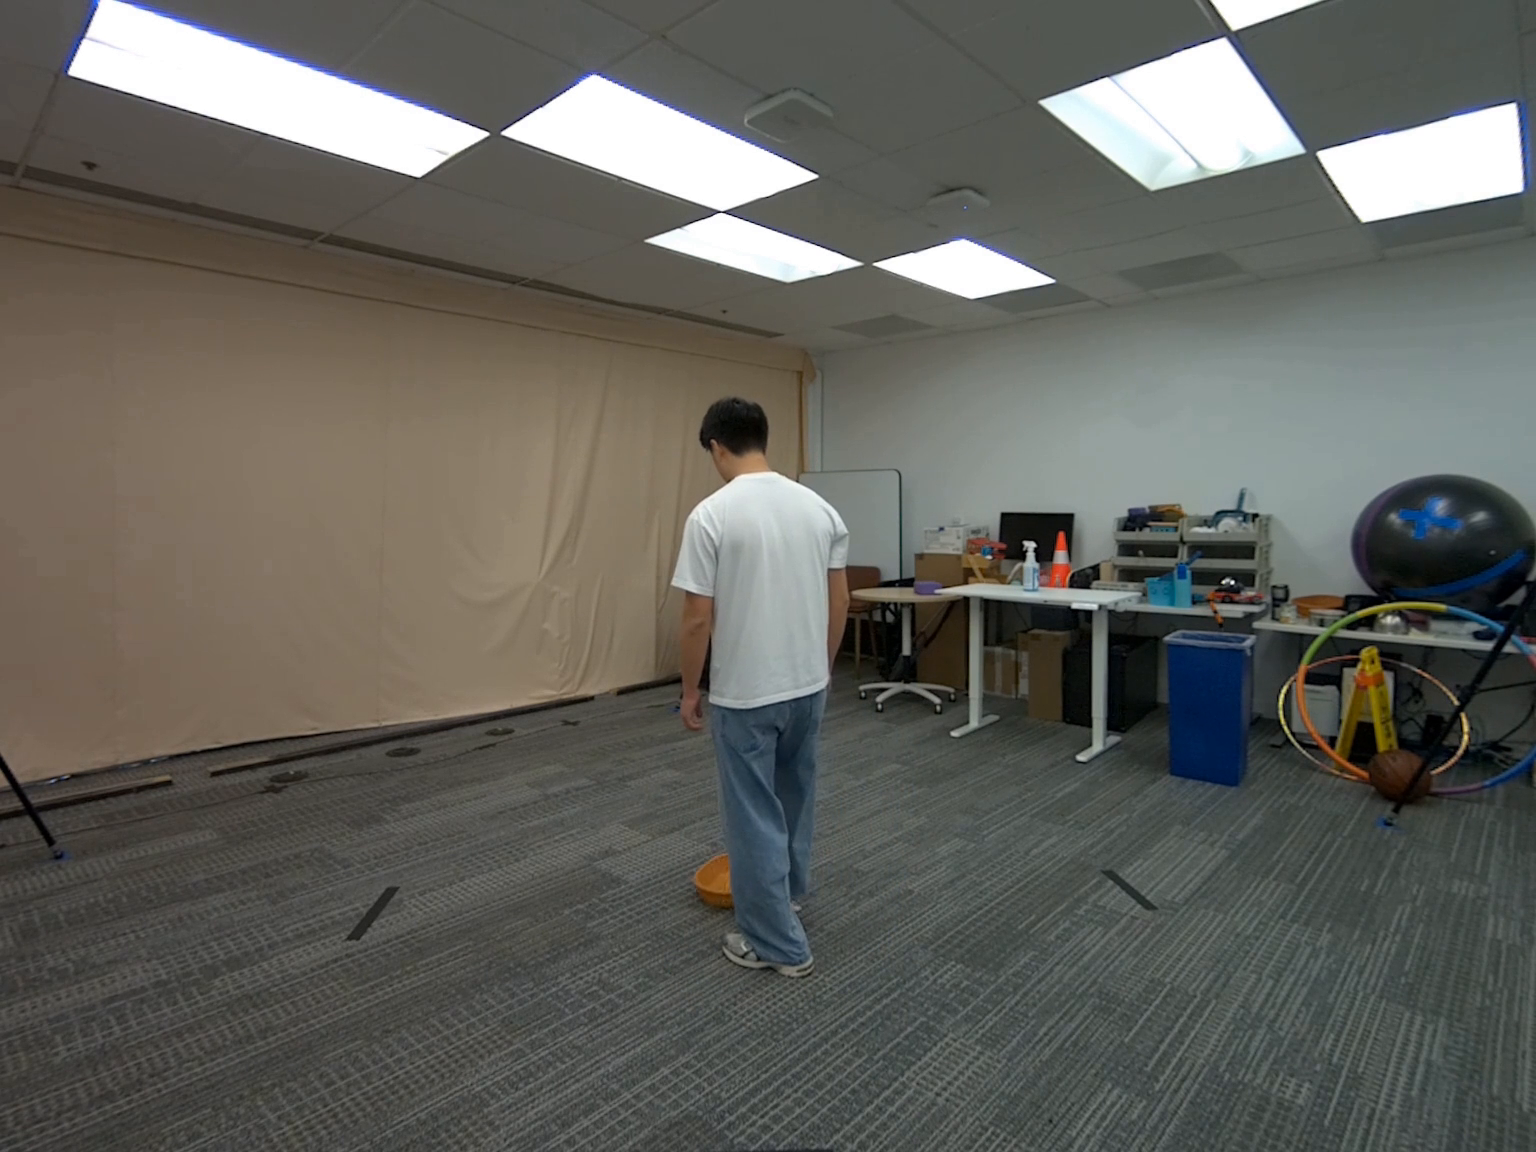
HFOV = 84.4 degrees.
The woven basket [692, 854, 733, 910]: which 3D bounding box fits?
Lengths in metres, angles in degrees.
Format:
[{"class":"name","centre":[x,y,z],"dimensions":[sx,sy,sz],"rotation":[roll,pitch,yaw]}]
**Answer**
[{"class":"woven basket","centre":[-0.127,1.095,3.046],"dimensions":[0.259,0.073,0.342],"rotation":[1,4,24]}]
